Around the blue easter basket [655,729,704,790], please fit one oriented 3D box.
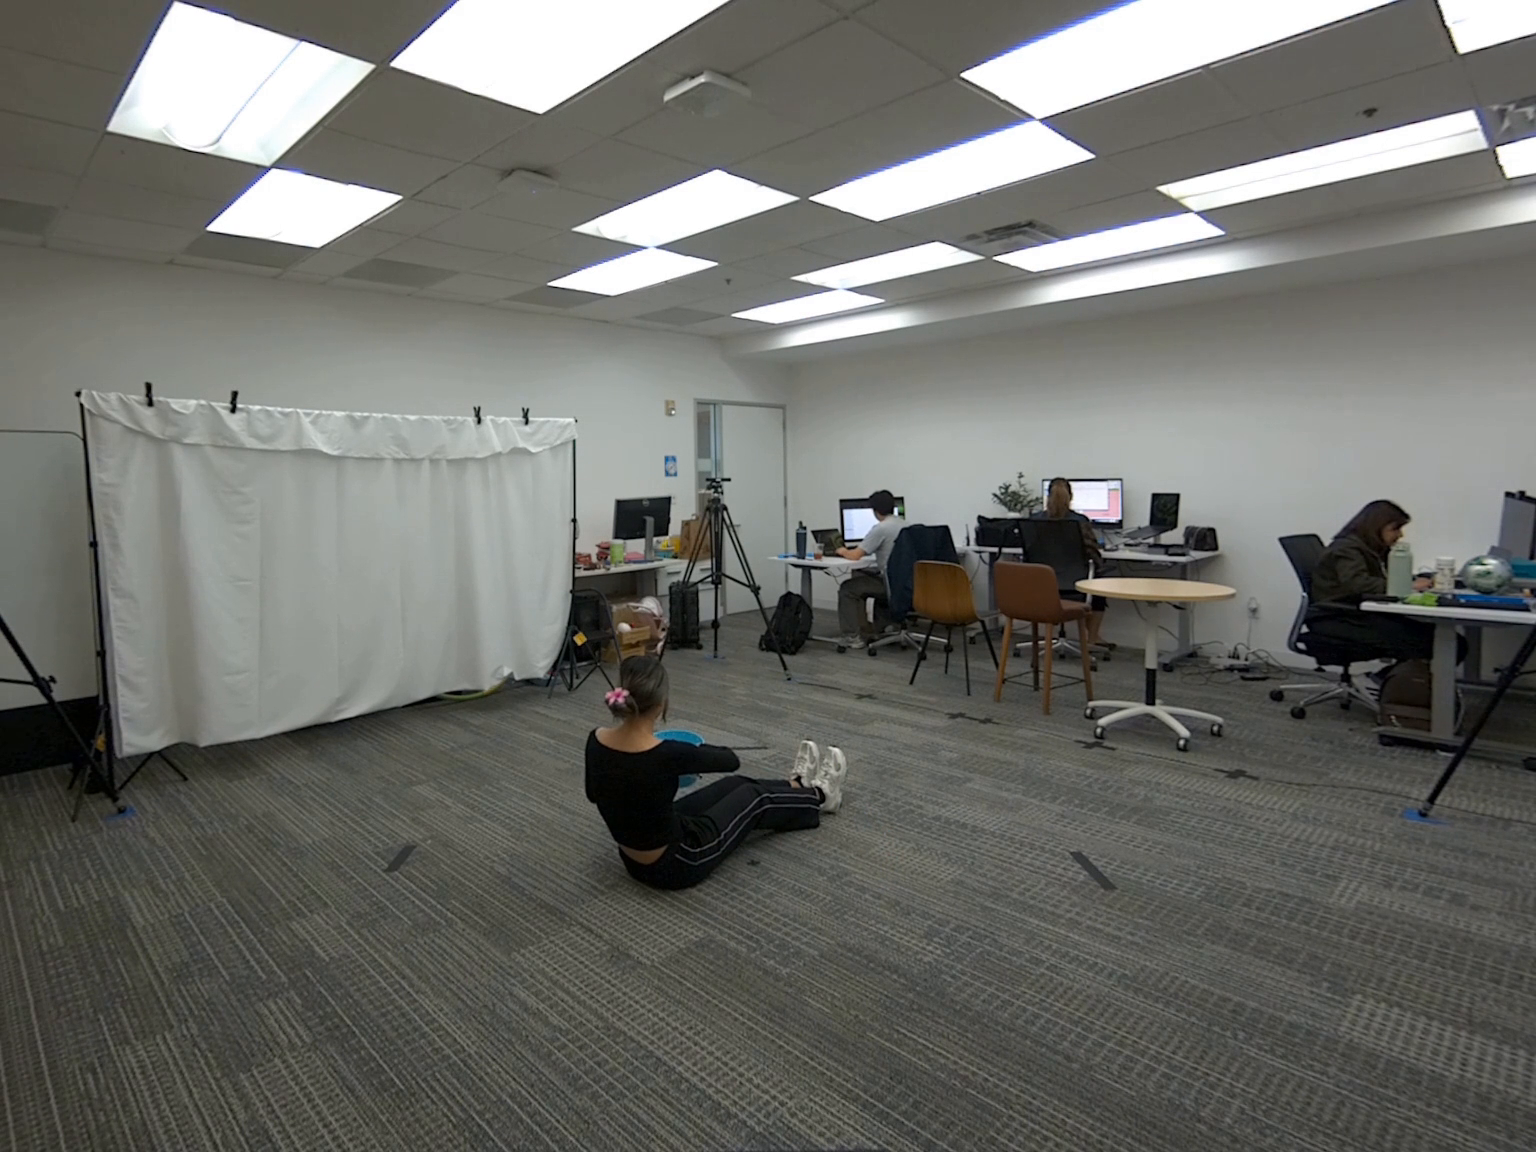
[{"bbox_3d":[-0.355,0.739,3.389,0.243,0.154,0.246,1,12,-2],"label":"blue easter basket"}]
